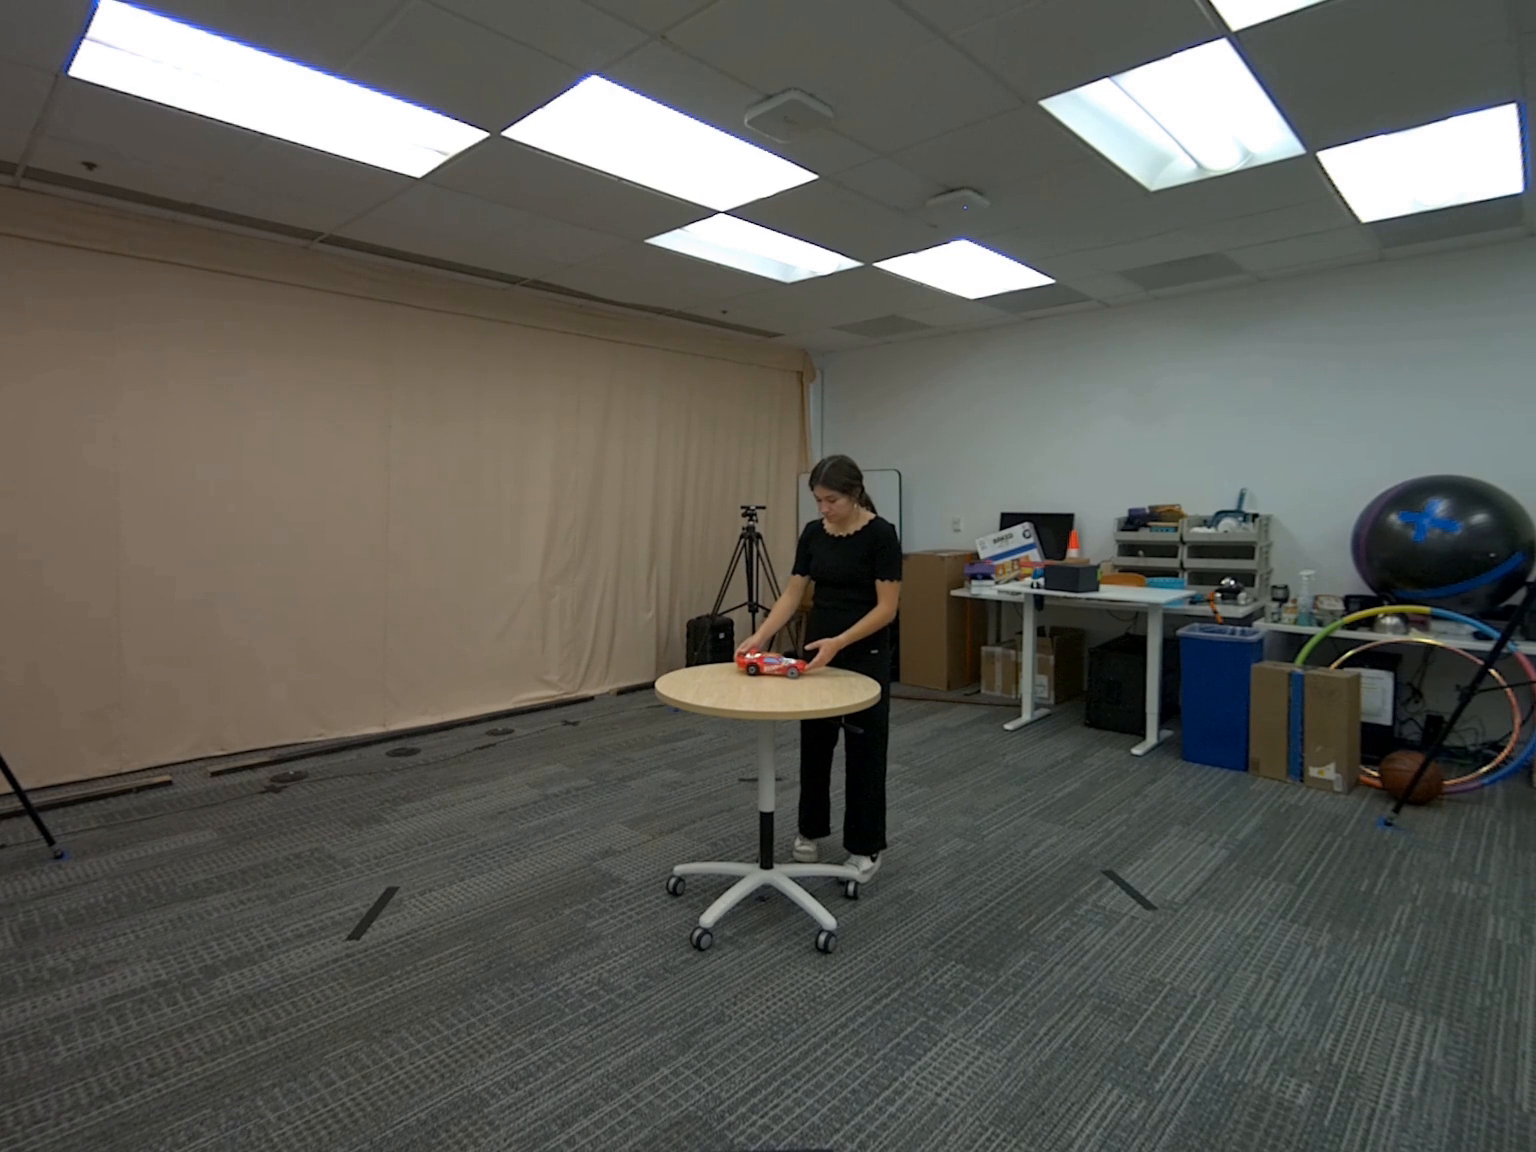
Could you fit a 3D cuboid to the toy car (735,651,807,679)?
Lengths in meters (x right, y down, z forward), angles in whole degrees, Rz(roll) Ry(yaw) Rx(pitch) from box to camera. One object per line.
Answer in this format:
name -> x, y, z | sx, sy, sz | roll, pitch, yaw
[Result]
toy car -> 0.016, 0.326, 3.027 | 0.259, 0.083, 0.129 | 13, 10, 13
